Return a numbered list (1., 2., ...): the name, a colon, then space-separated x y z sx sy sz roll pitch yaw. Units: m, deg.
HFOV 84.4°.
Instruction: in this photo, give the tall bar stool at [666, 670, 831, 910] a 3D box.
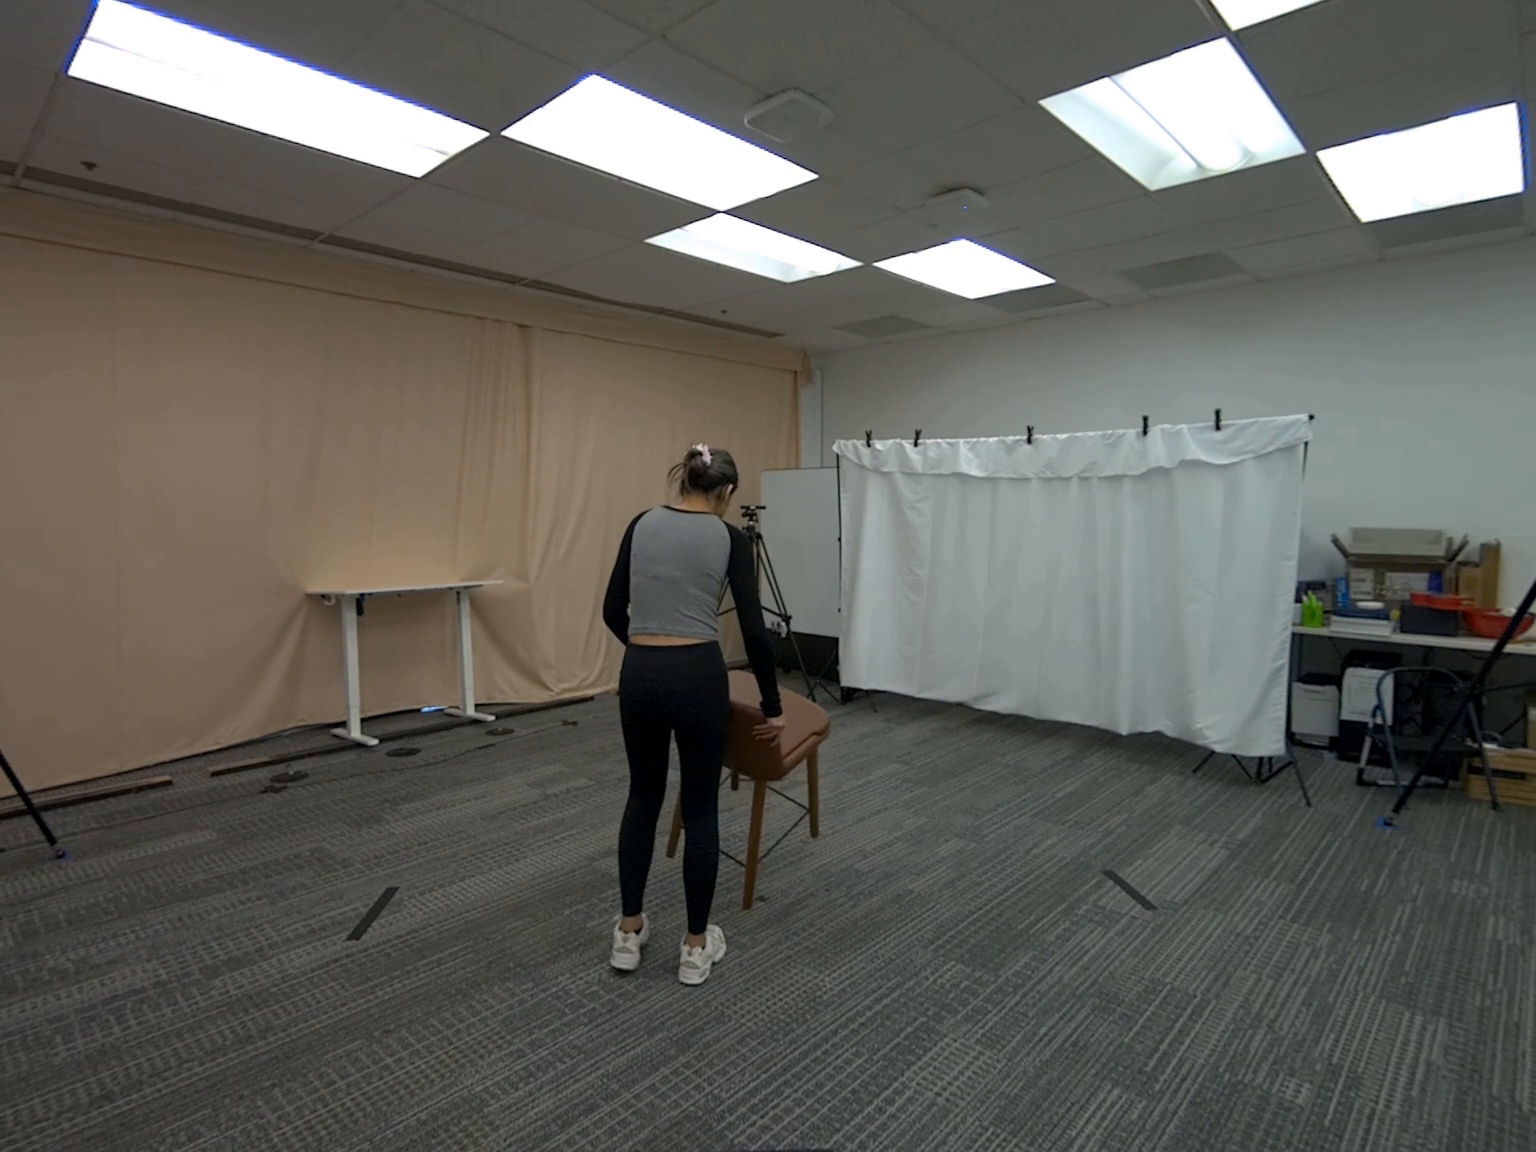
1. tall bar stool: -0.068 0.635 2.944 0.472 0.876 0.459 23 36 30
